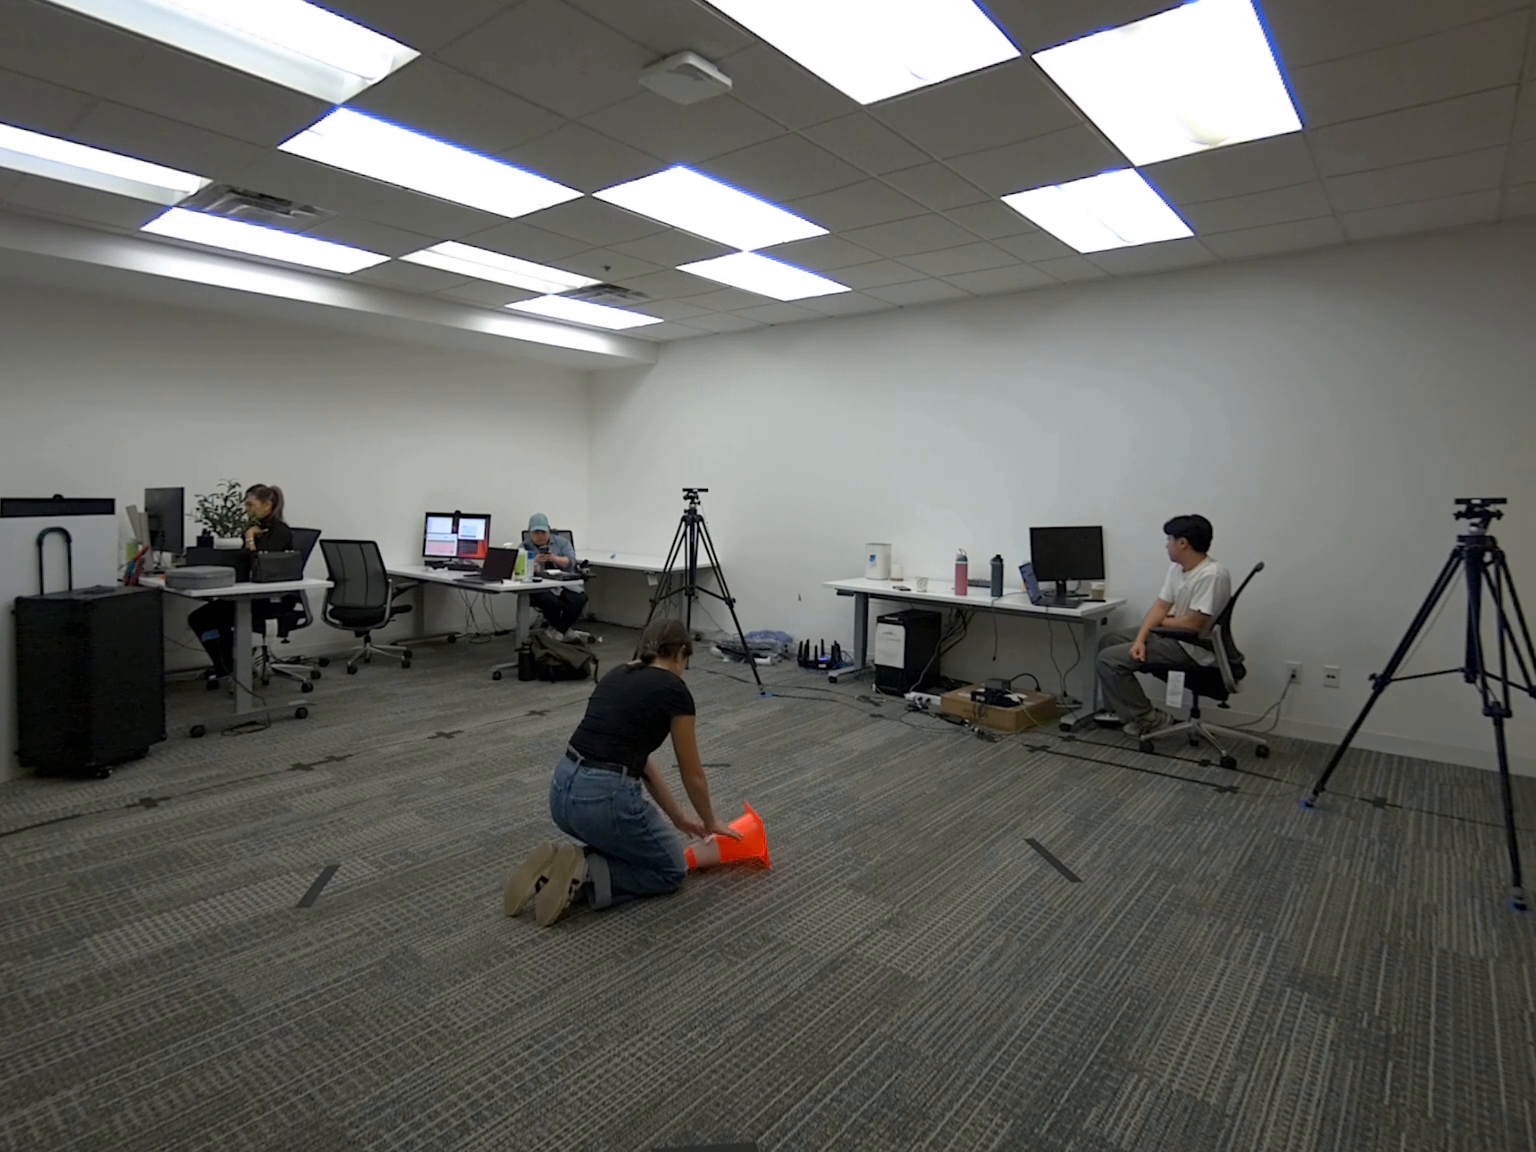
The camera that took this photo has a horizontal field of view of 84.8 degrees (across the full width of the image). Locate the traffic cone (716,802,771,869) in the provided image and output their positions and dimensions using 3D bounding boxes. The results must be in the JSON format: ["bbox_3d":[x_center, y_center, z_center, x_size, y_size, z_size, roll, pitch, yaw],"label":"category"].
[{"bbox_3d":[-0.219,1.001,3.143,0.378,0.203,0.208,-14,8,-19],"label":"traffic cone"}]
